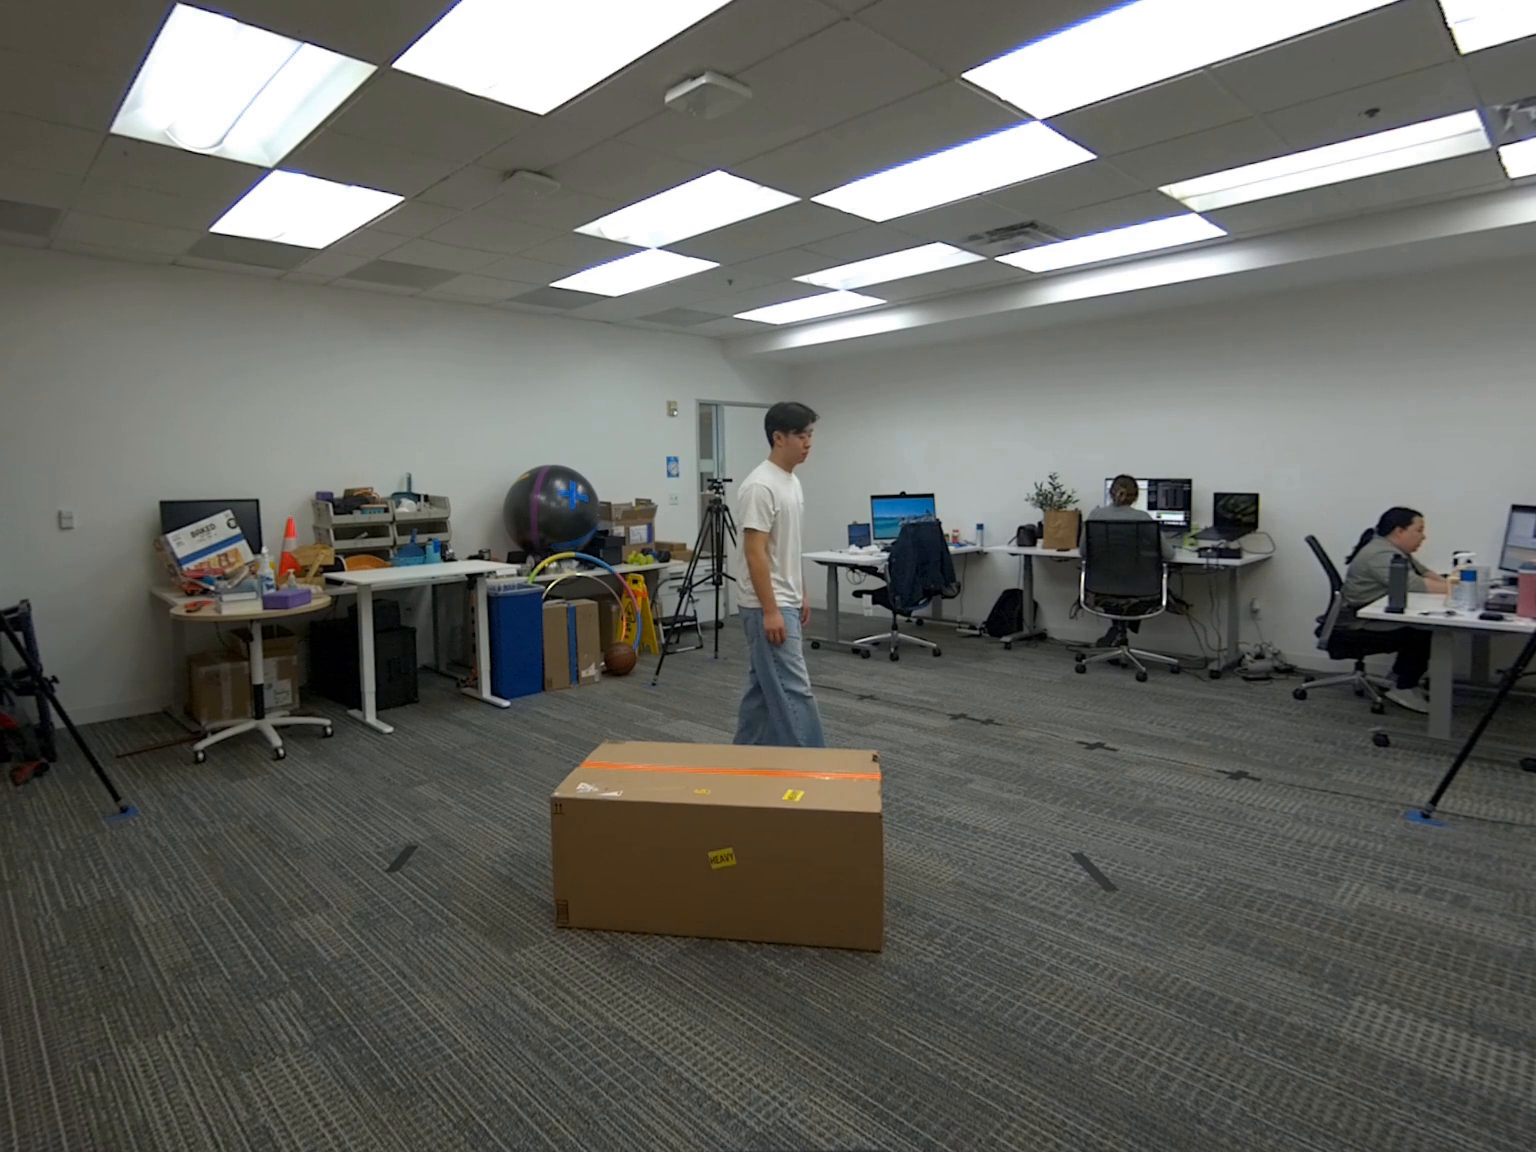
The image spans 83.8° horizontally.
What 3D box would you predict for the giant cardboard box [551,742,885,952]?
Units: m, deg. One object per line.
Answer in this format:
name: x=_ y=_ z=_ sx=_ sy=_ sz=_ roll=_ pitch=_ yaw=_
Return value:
giant cardboard box: x=-0.137 y=0.856 z=2.864 sx=1.035 sy=0.424 sz=0.575 roll=0 pitch=6 yaw=9
